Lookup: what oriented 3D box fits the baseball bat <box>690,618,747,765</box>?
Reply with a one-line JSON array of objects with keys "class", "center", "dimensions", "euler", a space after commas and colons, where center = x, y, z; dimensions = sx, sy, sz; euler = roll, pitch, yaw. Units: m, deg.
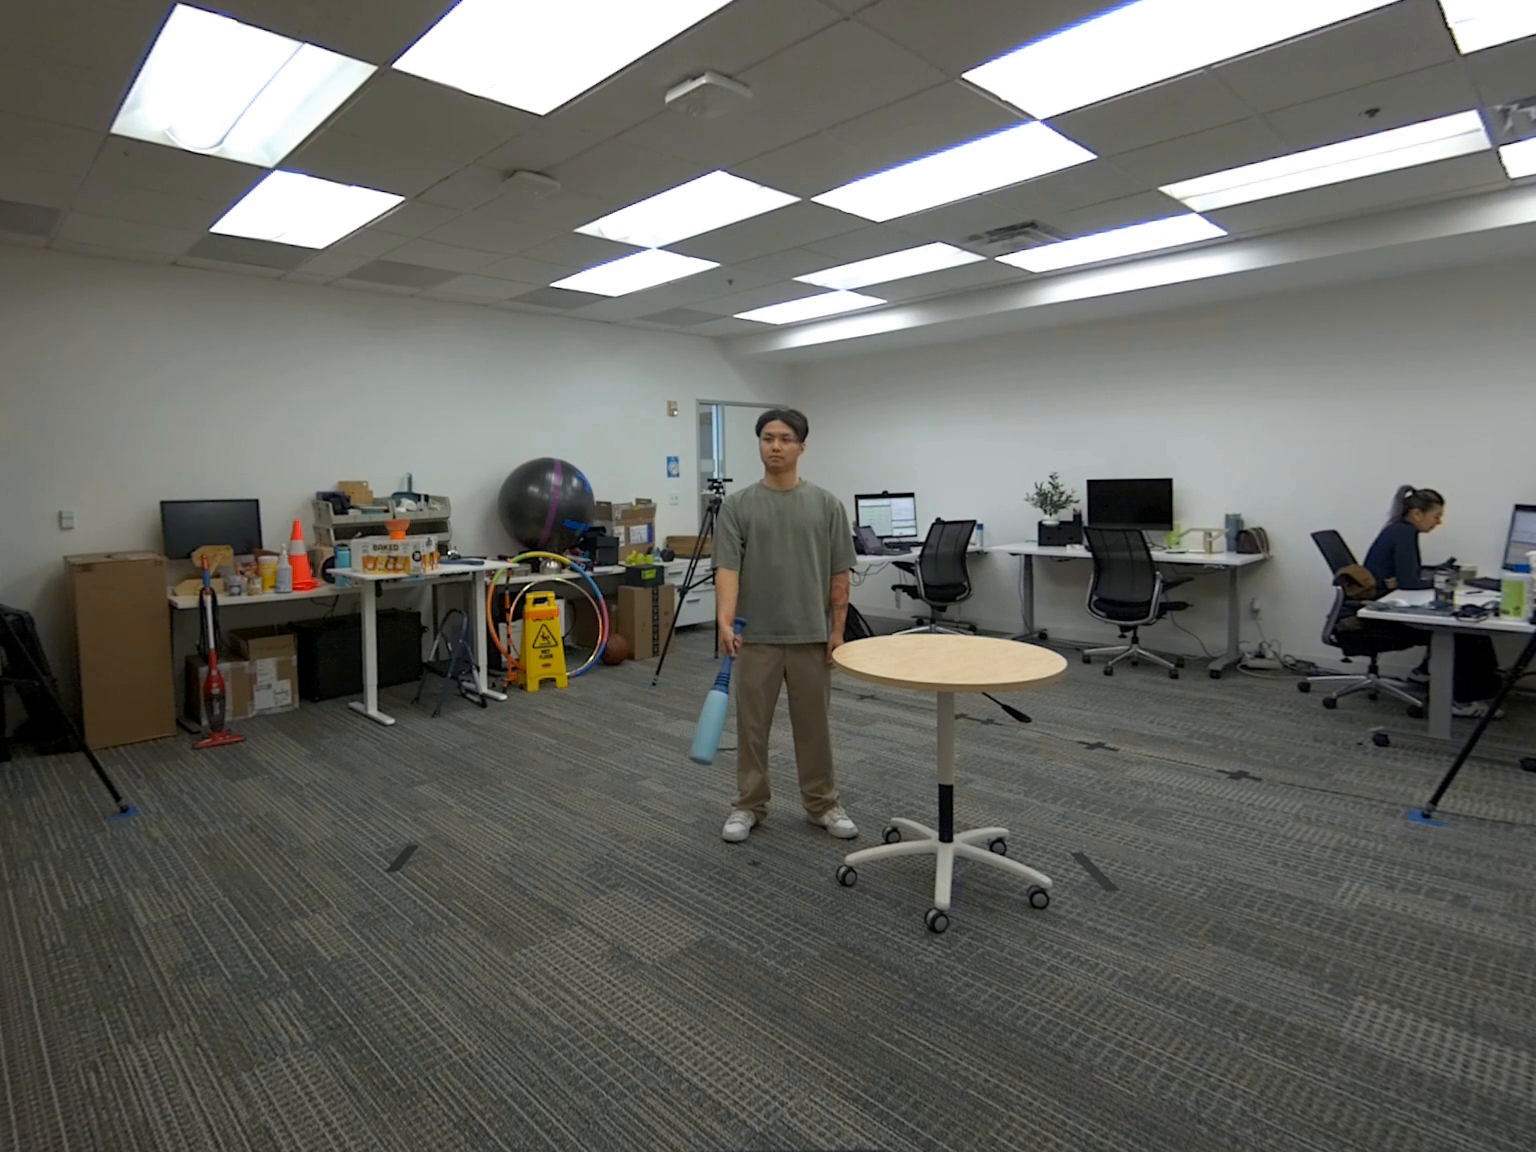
[{"class": "baseball bat", "center": [-0.161, 0.388, 2.997], "dimensions": [0.089, 0.551, 0.087], "euler": [12, -26, 4]}]
